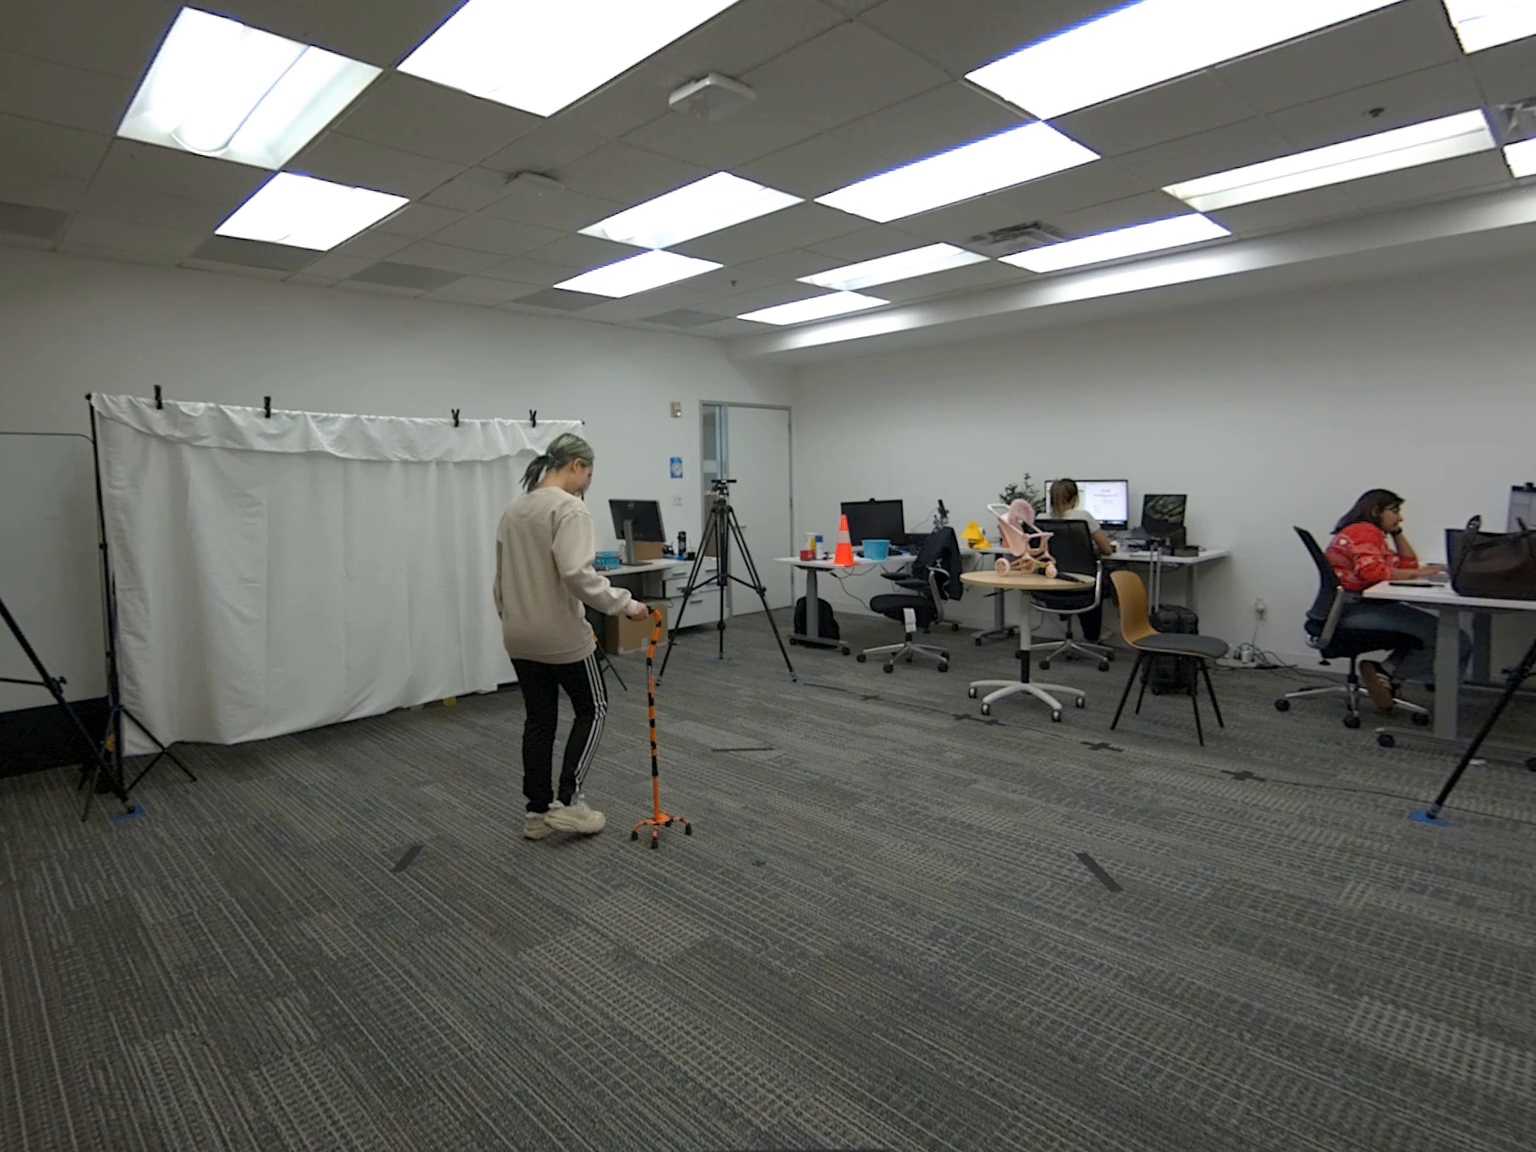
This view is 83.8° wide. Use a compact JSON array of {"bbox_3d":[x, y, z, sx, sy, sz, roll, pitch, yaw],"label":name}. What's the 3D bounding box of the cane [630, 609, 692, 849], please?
[{"bbox_3d":[-0.431,0.571,3.333,0.156,0.905,0.201,2,5,42],"label":"cane"}]
